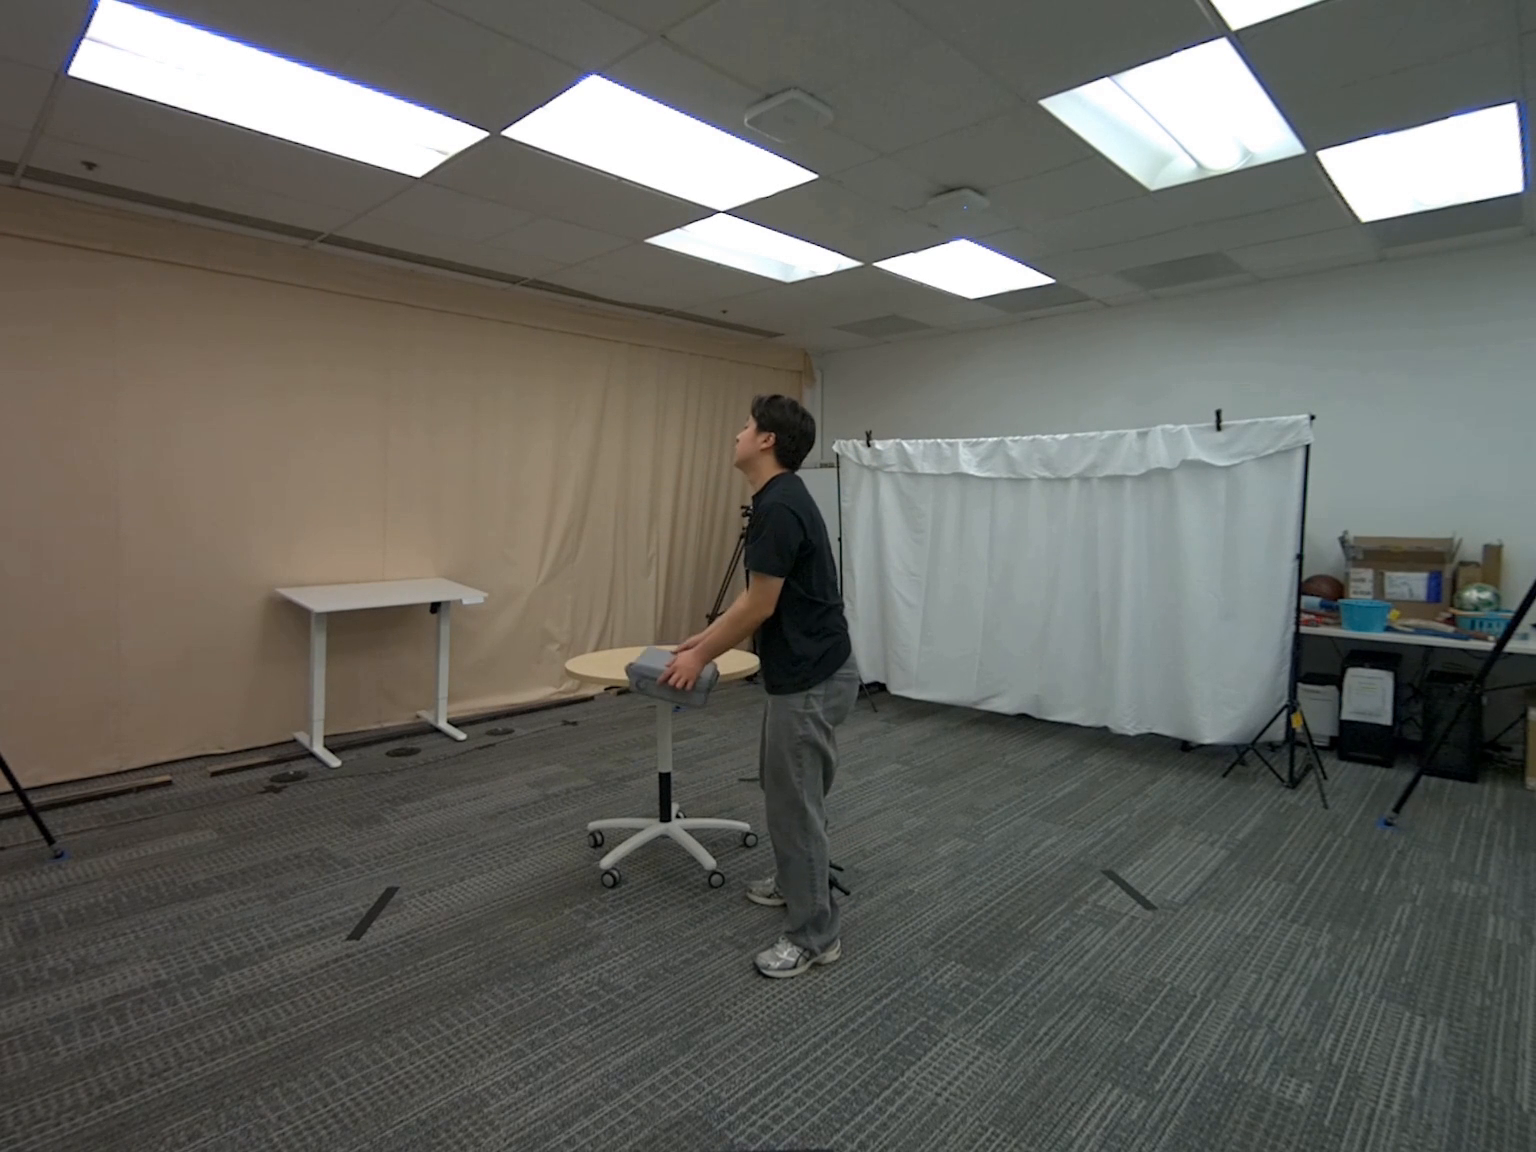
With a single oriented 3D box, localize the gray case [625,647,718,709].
[{"bbox_3d":[-0.296,0.321,2.660,0.288,0.103,0.263,9,8,3],"label":"gray case"}]
